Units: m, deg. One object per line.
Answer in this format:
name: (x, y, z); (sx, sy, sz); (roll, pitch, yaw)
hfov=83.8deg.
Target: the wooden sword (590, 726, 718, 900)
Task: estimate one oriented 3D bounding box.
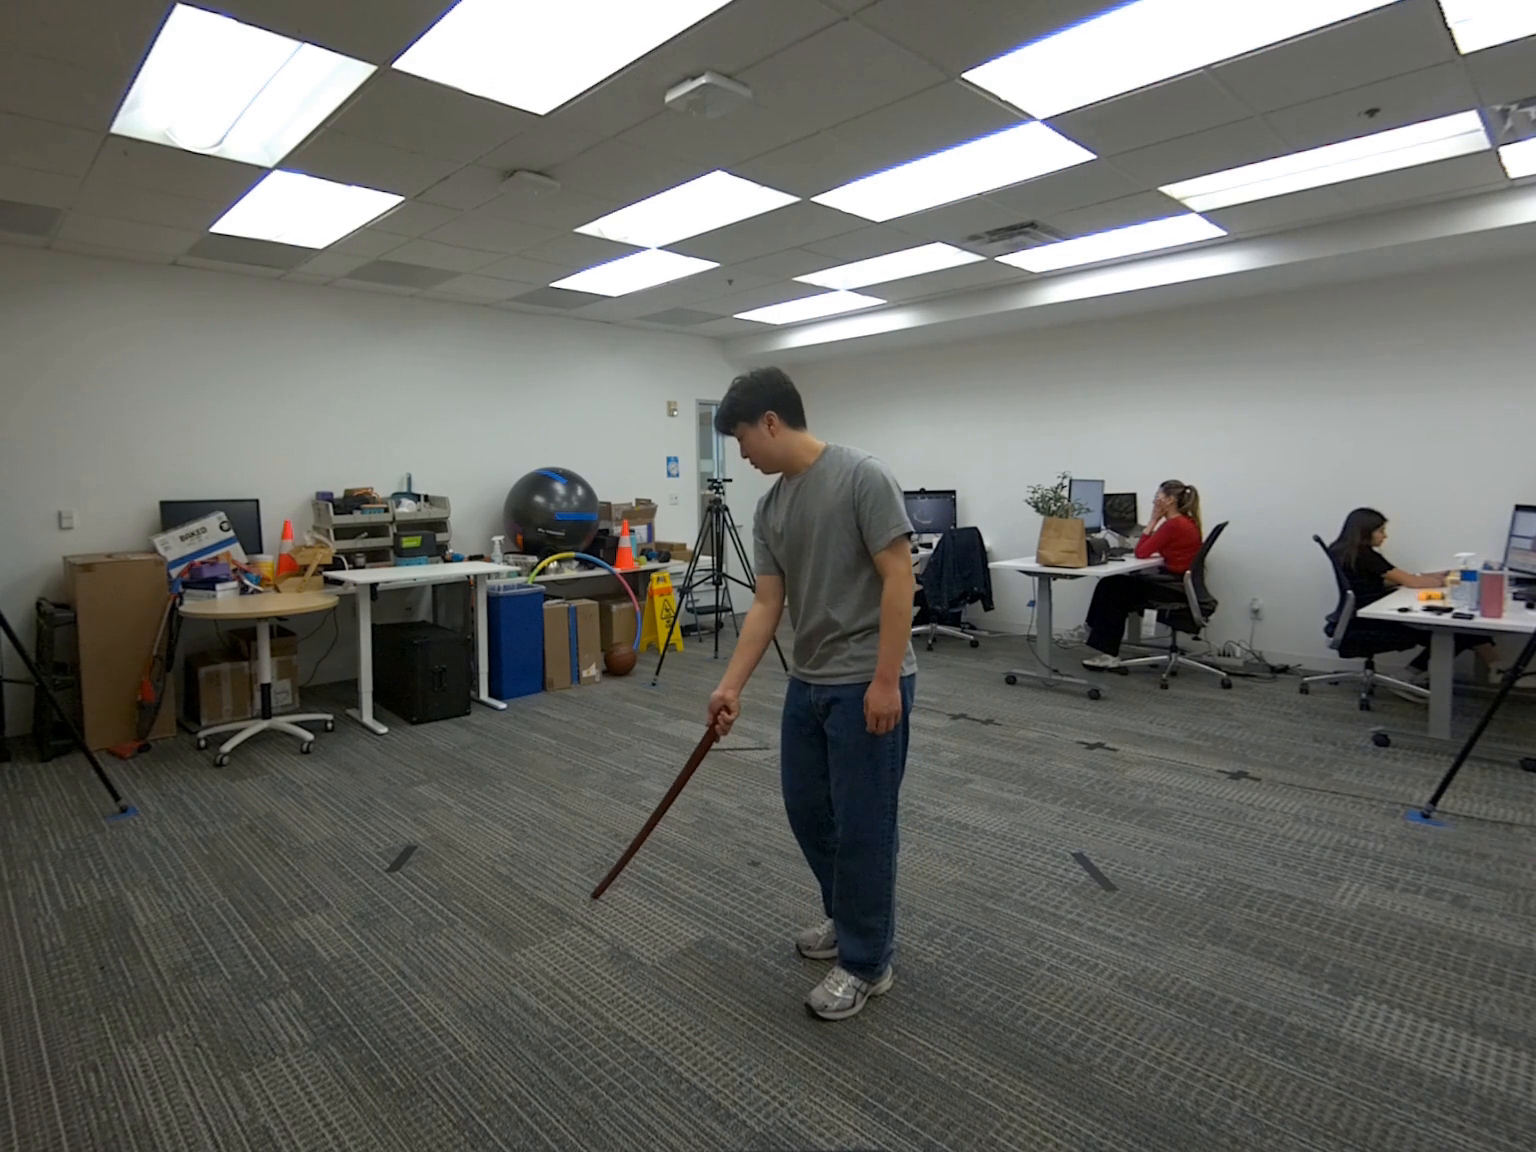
wooden sword: (-0.356, 0.746, 2.584); (0.050, 1.018, 0.025); (20, 37, -20)
